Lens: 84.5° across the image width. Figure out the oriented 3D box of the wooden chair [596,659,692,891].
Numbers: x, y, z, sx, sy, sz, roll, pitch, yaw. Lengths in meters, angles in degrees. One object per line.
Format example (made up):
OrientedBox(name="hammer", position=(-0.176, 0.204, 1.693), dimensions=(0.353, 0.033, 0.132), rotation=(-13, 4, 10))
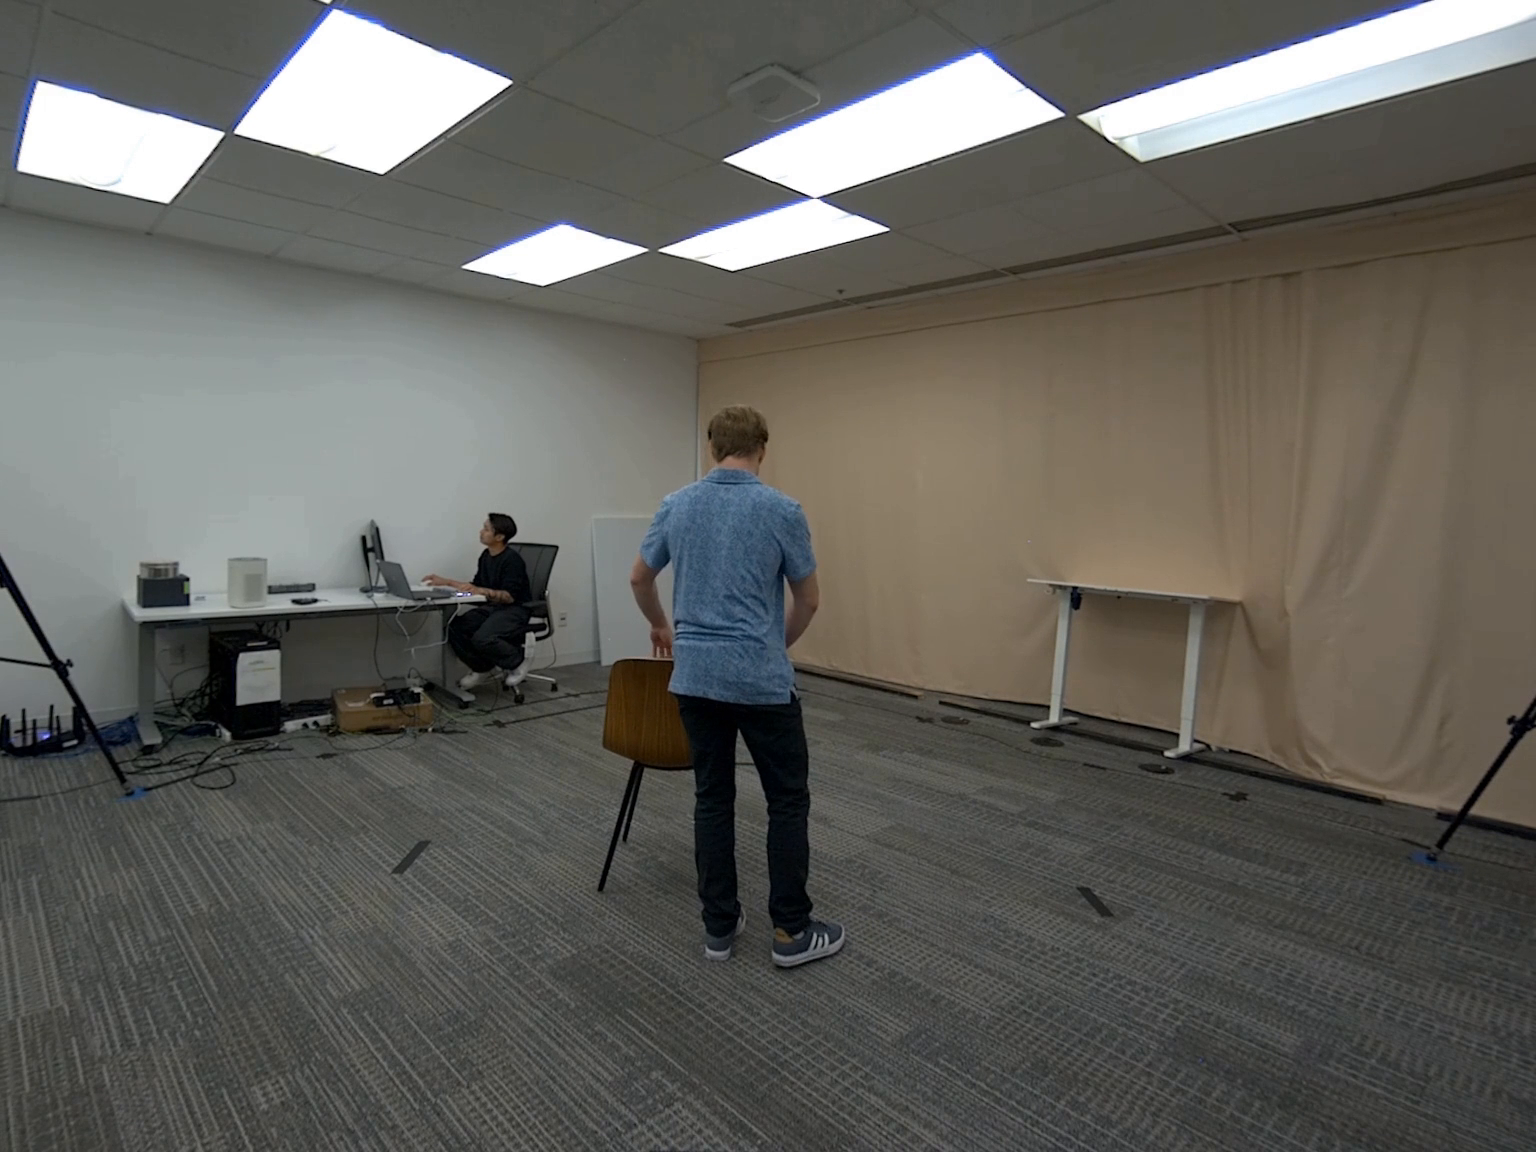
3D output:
OrientedBox(name="wooden chair", position=(-0.364, 0.673, 3.141), dimensions=(0.479, 0.873, 0.524), rotation=(1, 7, 3))
